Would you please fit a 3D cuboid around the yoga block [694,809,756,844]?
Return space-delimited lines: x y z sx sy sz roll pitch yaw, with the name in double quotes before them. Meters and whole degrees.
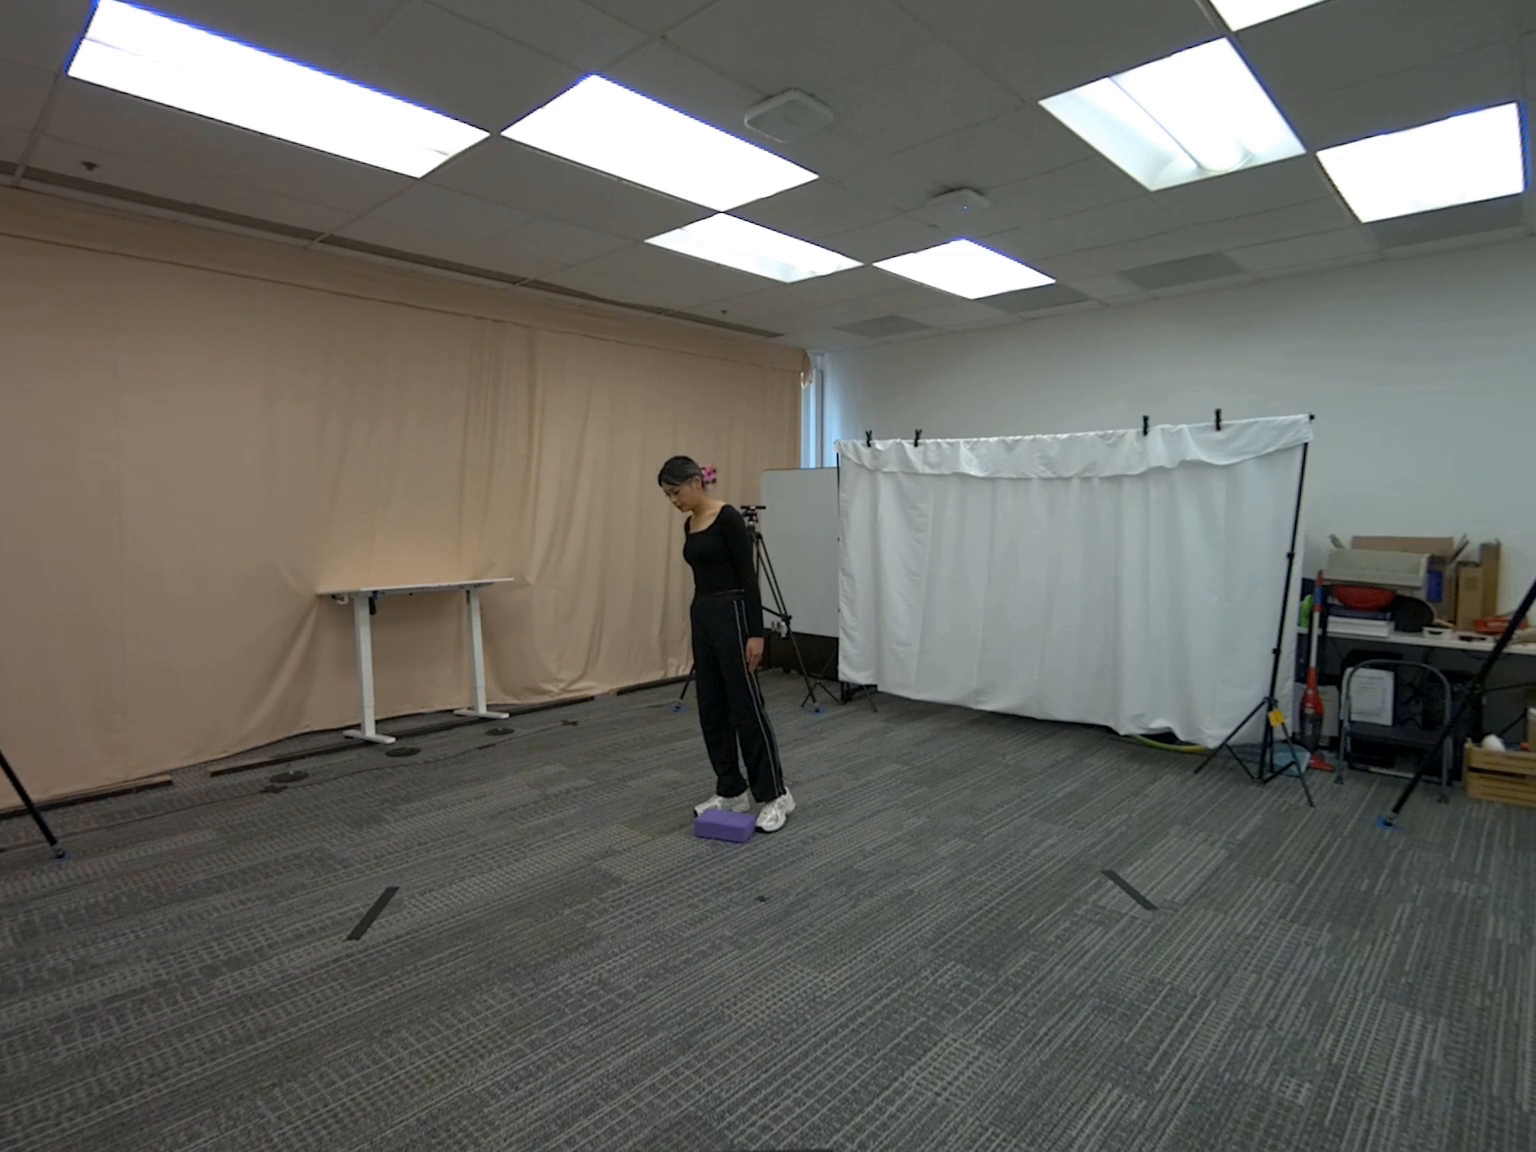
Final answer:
"yoga block" -0.176 1.051 3.577 0.234 0.076 0.146 1 4 21
